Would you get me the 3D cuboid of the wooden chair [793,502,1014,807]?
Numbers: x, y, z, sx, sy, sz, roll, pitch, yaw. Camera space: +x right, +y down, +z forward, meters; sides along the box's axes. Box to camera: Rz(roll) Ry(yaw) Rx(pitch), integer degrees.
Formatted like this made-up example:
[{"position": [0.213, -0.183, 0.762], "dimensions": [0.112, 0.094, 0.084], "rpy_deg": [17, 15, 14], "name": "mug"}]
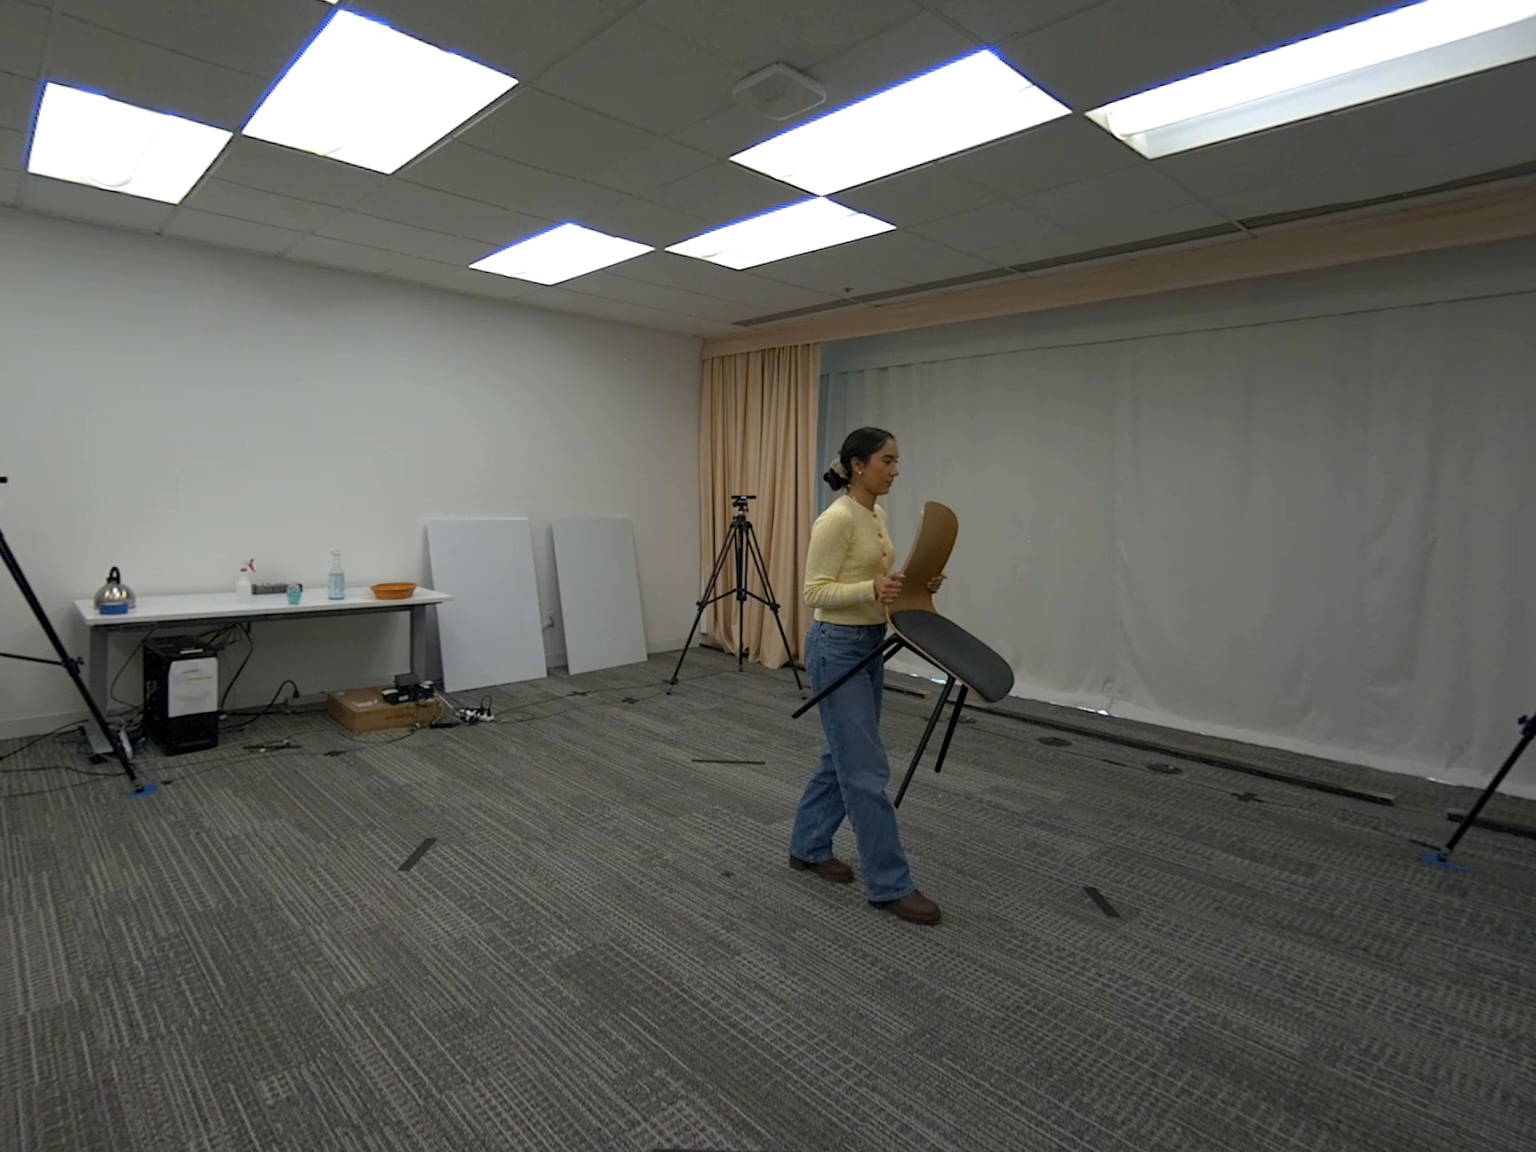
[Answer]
[{"position": [0.556, 0.259, 2.826], "dimensions": [0.536, 0.873, 0.468], "rpy_deg": [34, 16, 25], "name": "wooden chair"}]
